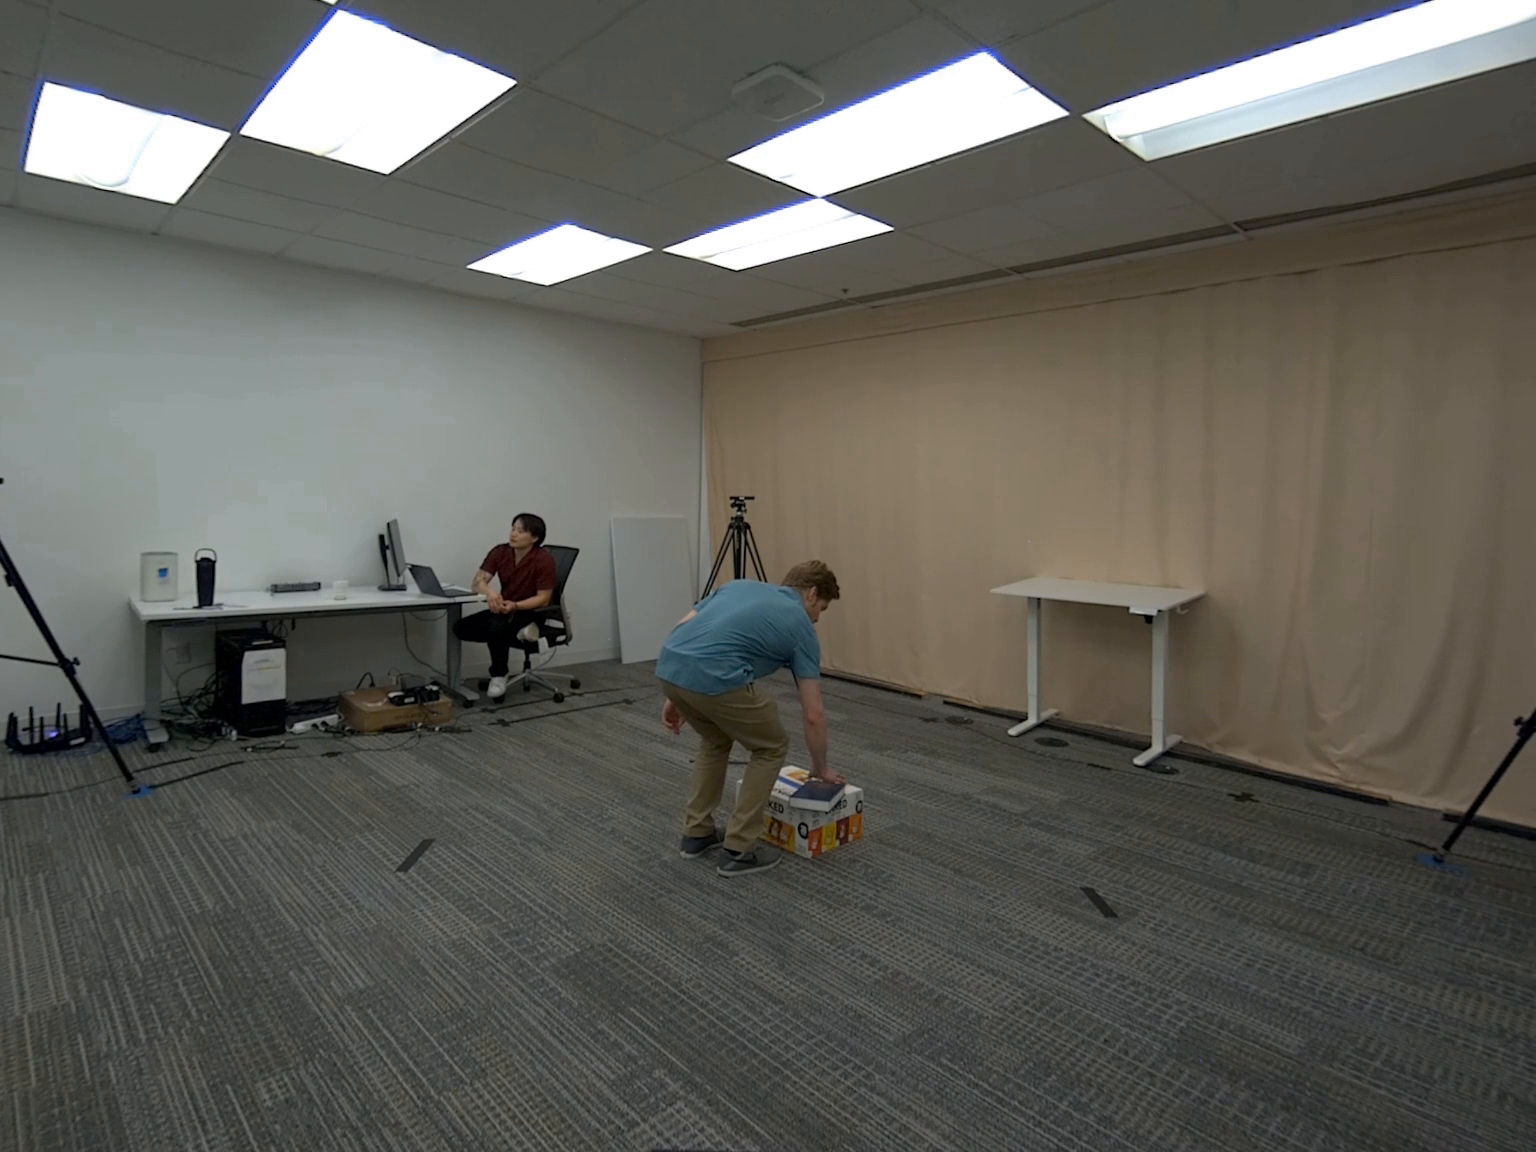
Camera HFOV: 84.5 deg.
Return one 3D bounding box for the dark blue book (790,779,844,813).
[{"bbox_3d":[0.194,0.869,3.338,0.166,0.045,0.241,1,3,21],"label":"dark blue book"}]
